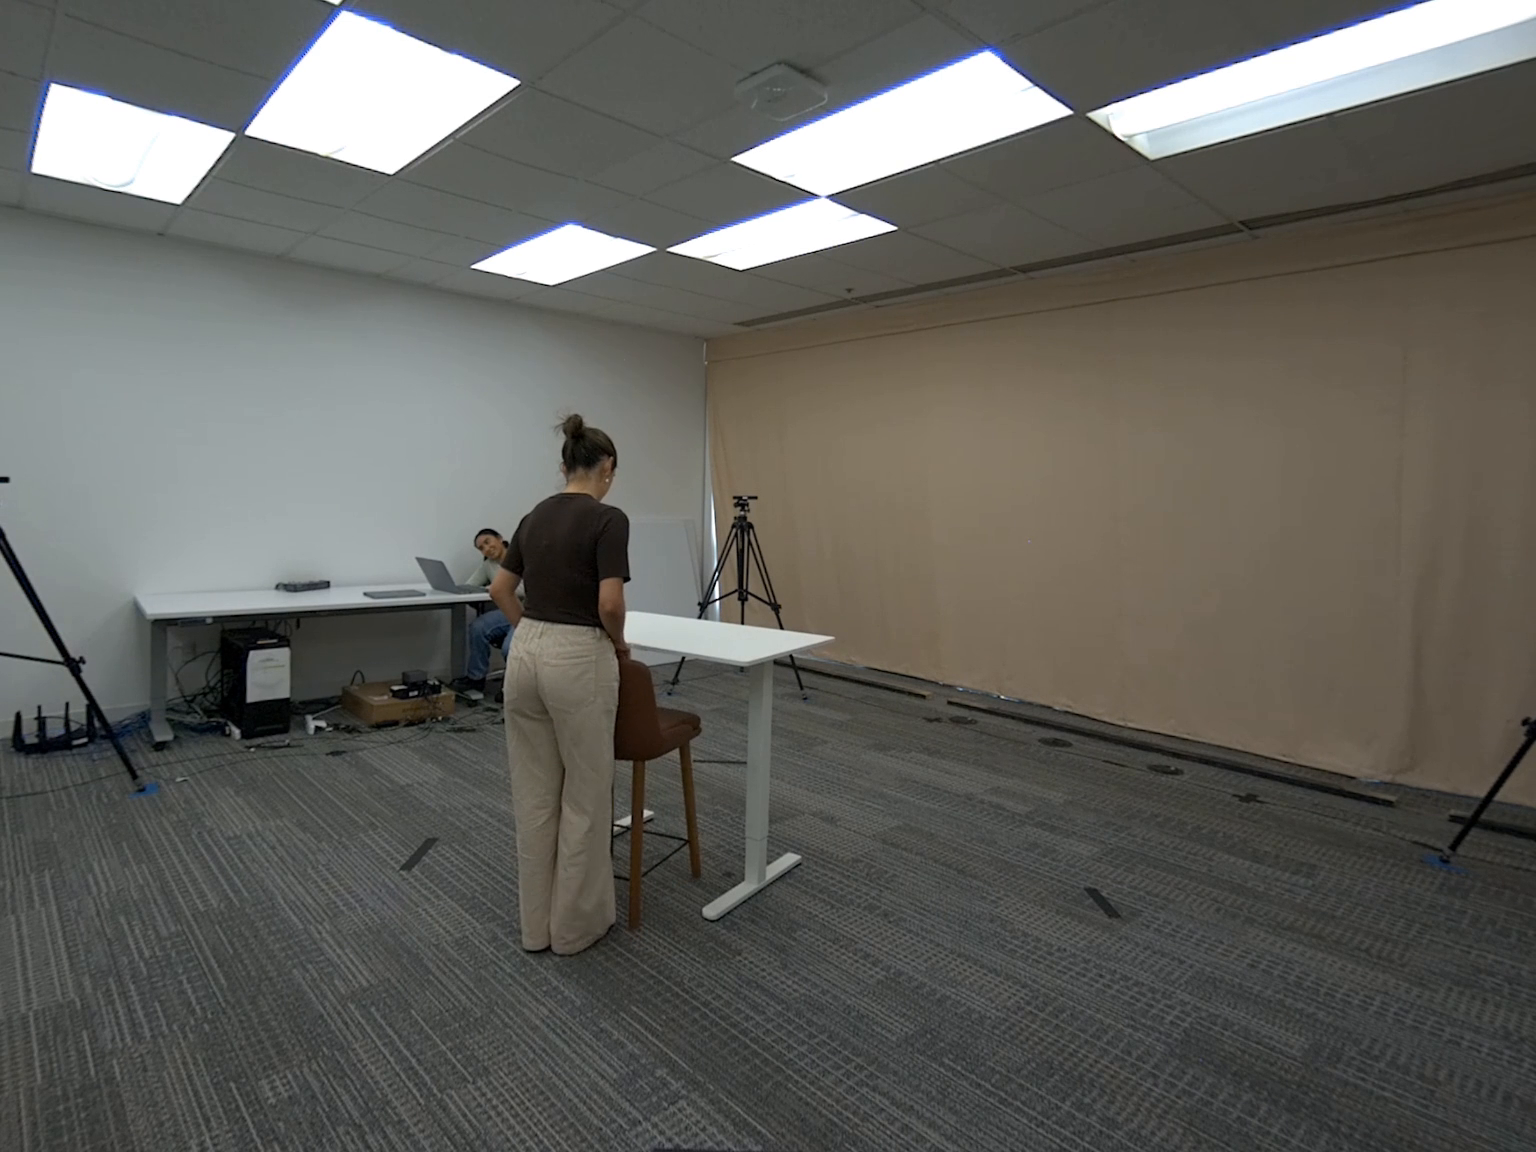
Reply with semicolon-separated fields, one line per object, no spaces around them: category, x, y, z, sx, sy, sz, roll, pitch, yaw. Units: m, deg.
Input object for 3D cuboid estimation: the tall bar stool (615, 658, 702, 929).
tall bar stool;-0.511;0.677;2.930;0.465;0.886;0.461;3;6;24
